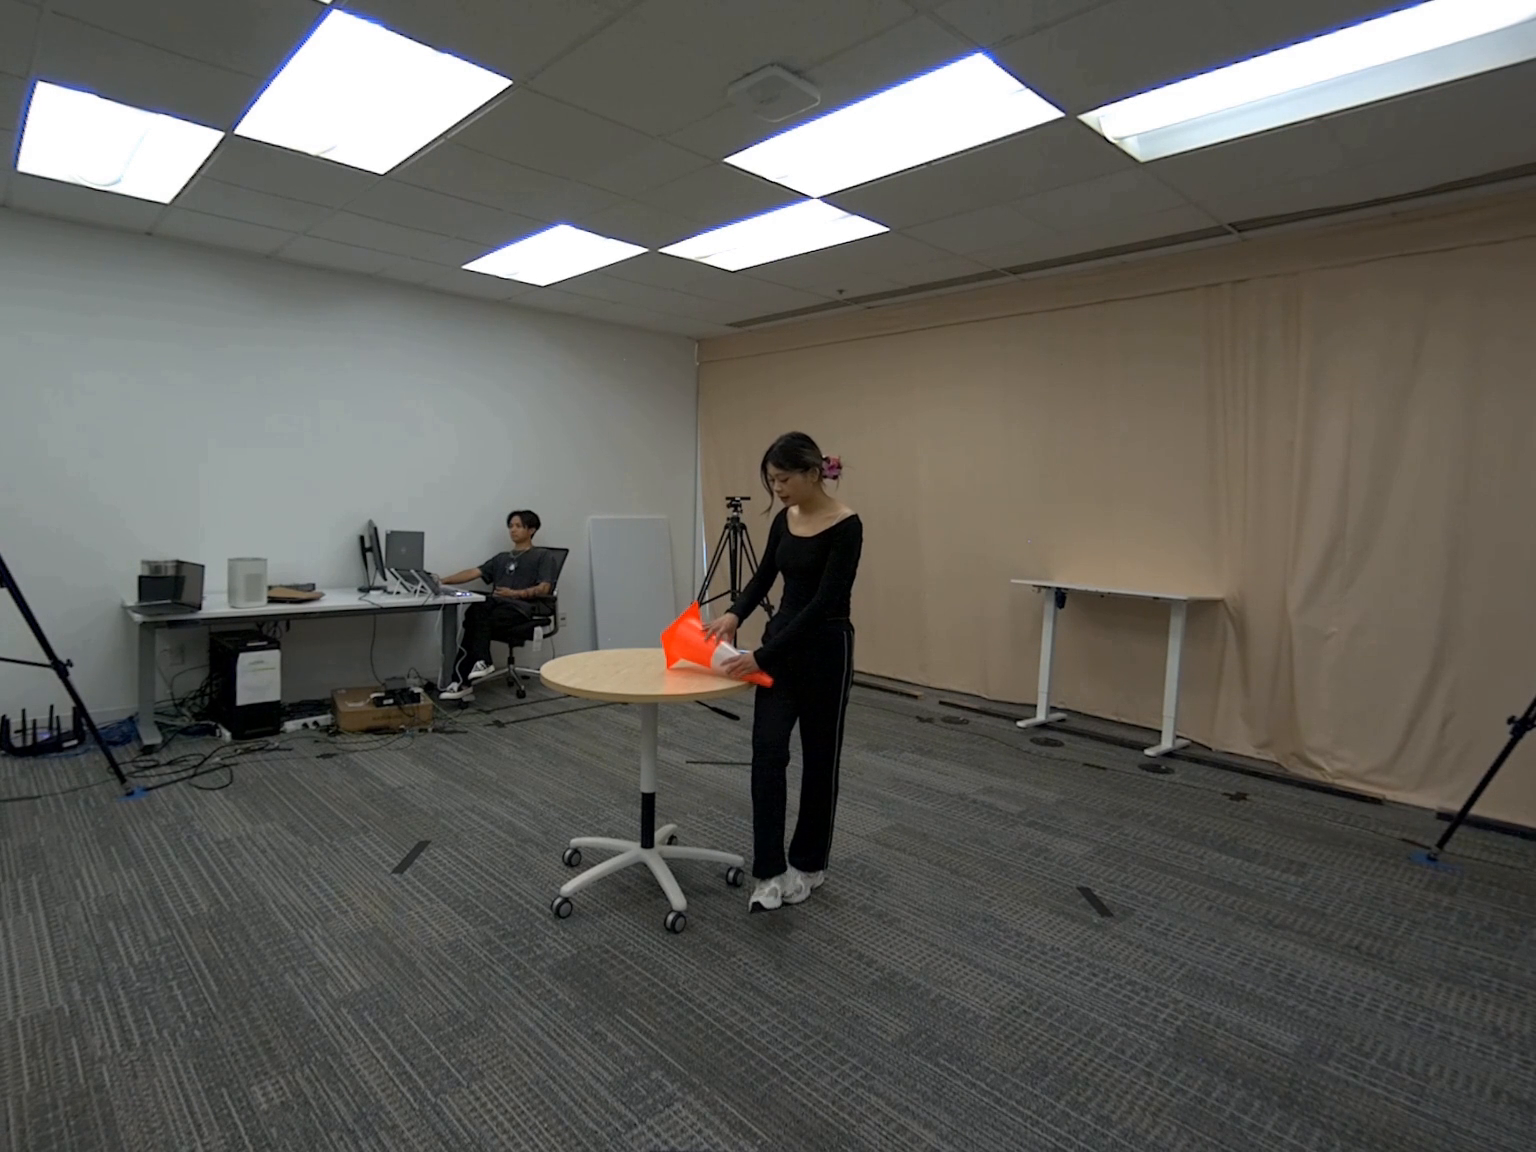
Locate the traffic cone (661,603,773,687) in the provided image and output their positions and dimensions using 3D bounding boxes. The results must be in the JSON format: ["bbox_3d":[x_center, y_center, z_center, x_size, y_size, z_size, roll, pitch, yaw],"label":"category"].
[{"bbox_3d":[-0.149,0.279,2.872,0.393,0.198,0.205,24,52,27],"label":"traffic cone"}]
